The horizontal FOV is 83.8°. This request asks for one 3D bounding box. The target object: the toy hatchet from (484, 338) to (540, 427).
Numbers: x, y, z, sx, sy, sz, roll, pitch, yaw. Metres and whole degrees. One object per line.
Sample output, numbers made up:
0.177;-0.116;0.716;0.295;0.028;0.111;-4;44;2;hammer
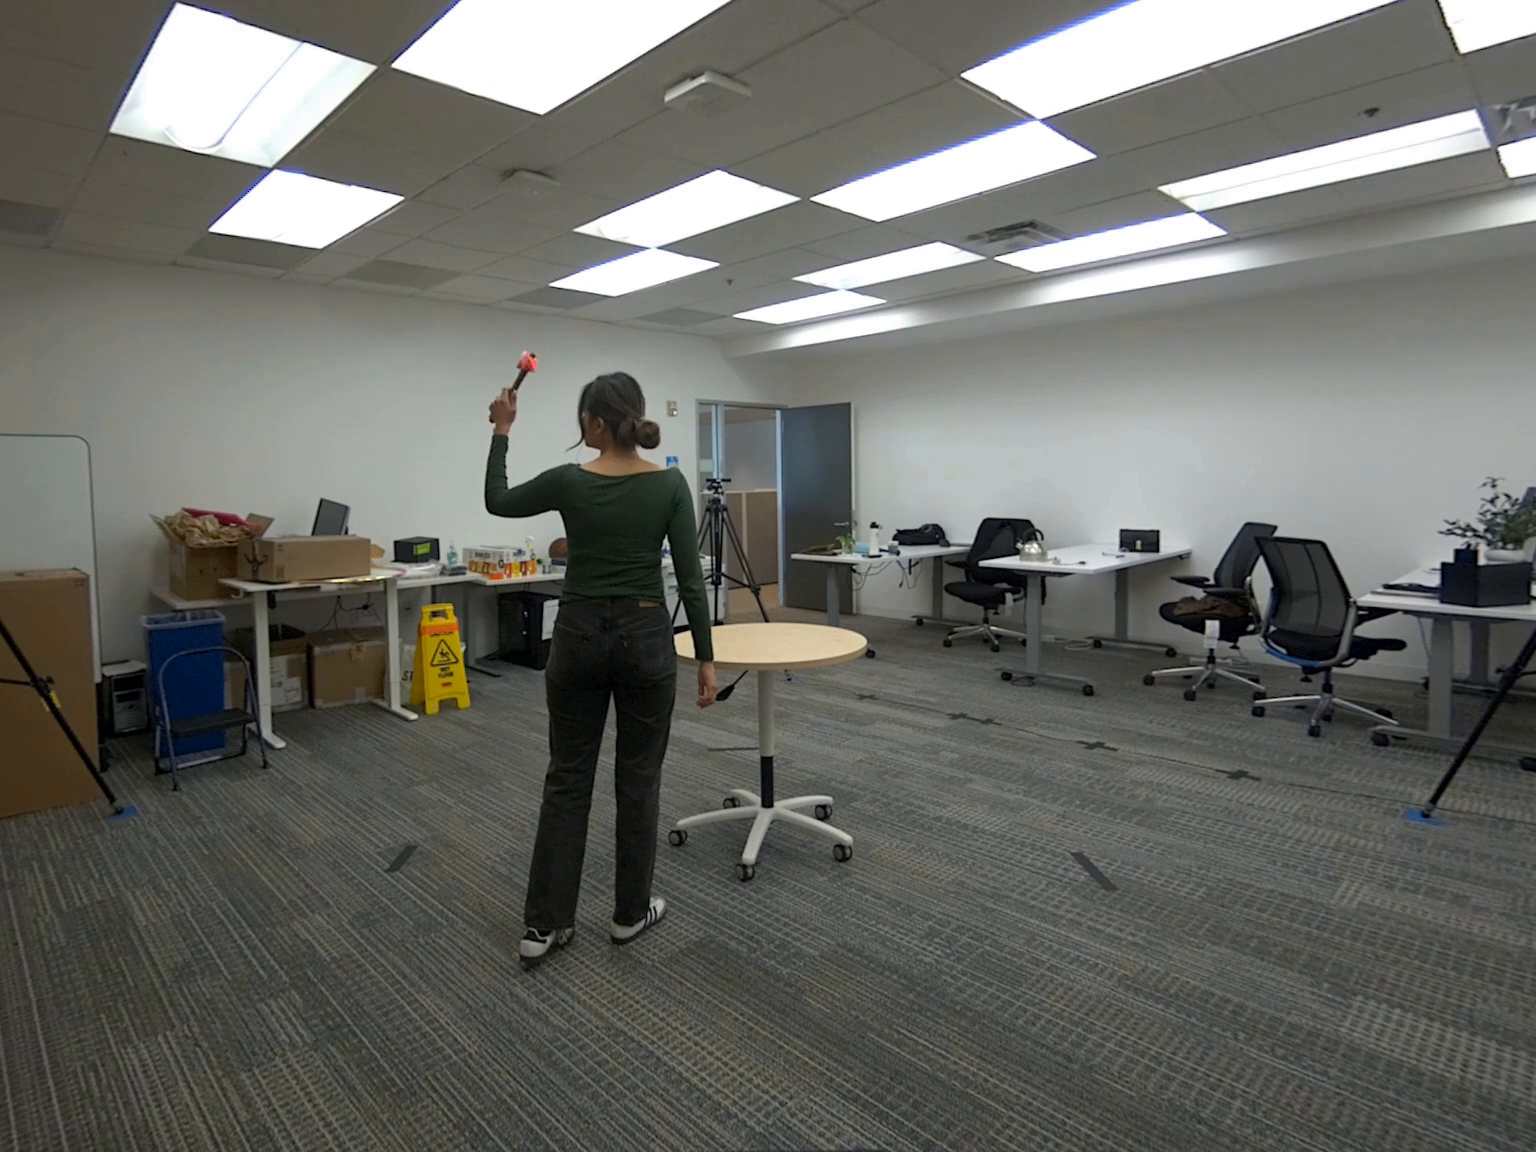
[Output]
-0.806;-0.605;2.684;0.028;0.135;0.271;18;-45;-41;toy hatchet
